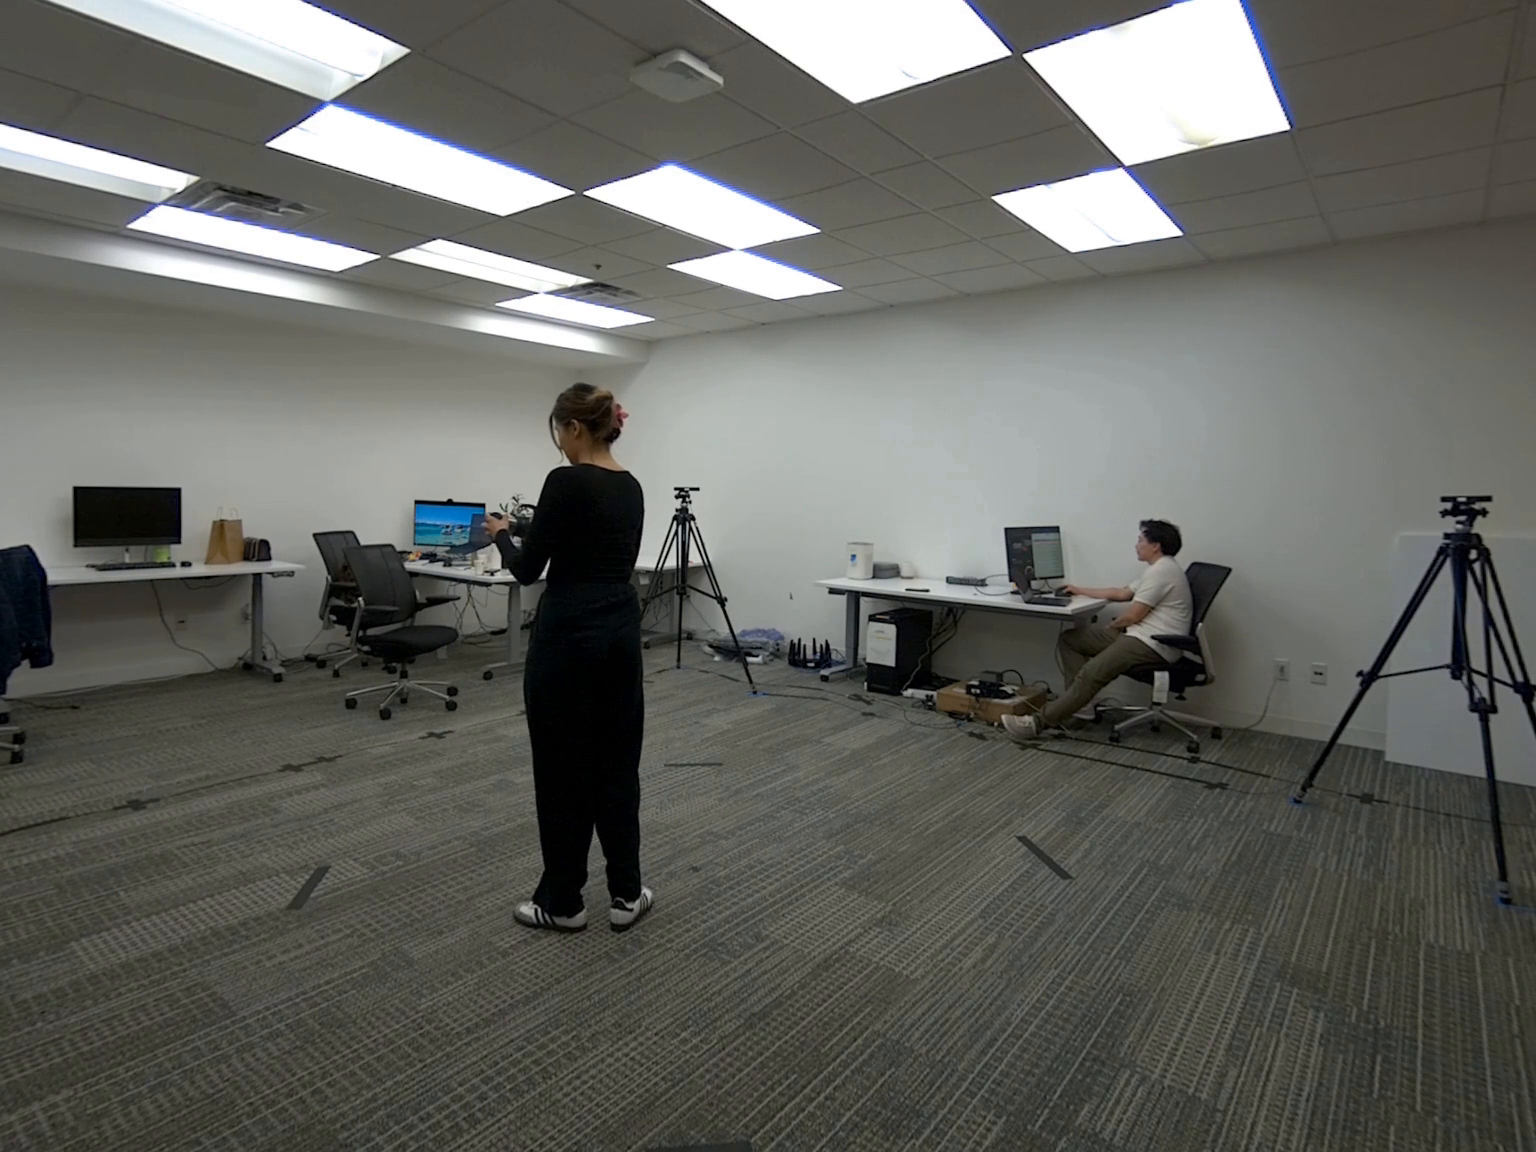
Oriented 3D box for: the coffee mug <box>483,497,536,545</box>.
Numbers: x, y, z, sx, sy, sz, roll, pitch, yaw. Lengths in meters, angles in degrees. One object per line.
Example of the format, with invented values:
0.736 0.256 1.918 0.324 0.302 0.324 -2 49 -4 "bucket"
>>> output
-0.864 -0.186 2.891 0.090 0.123 0.195 -3 -12 32 "coffee mug"
